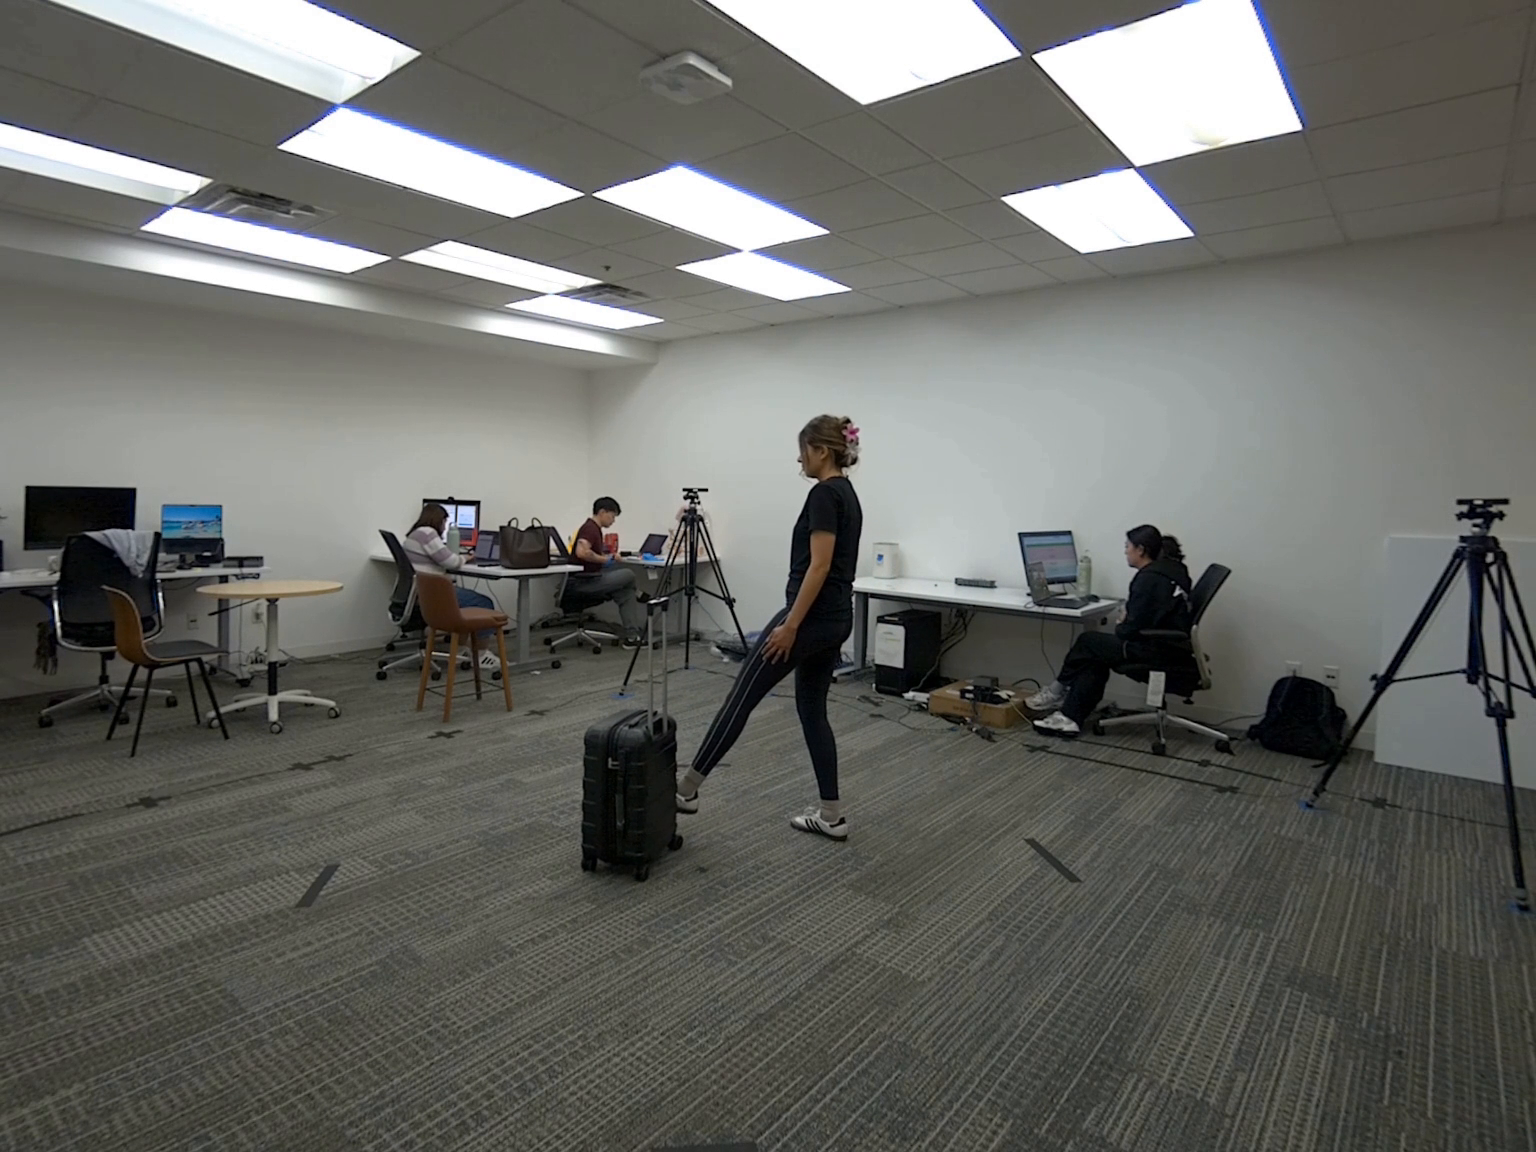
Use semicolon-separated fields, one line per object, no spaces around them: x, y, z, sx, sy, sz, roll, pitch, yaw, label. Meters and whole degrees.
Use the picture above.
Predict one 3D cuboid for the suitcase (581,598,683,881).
-0.519;0.586;3.146;0.262;0.976;0.378;1;3;16;suitcase
